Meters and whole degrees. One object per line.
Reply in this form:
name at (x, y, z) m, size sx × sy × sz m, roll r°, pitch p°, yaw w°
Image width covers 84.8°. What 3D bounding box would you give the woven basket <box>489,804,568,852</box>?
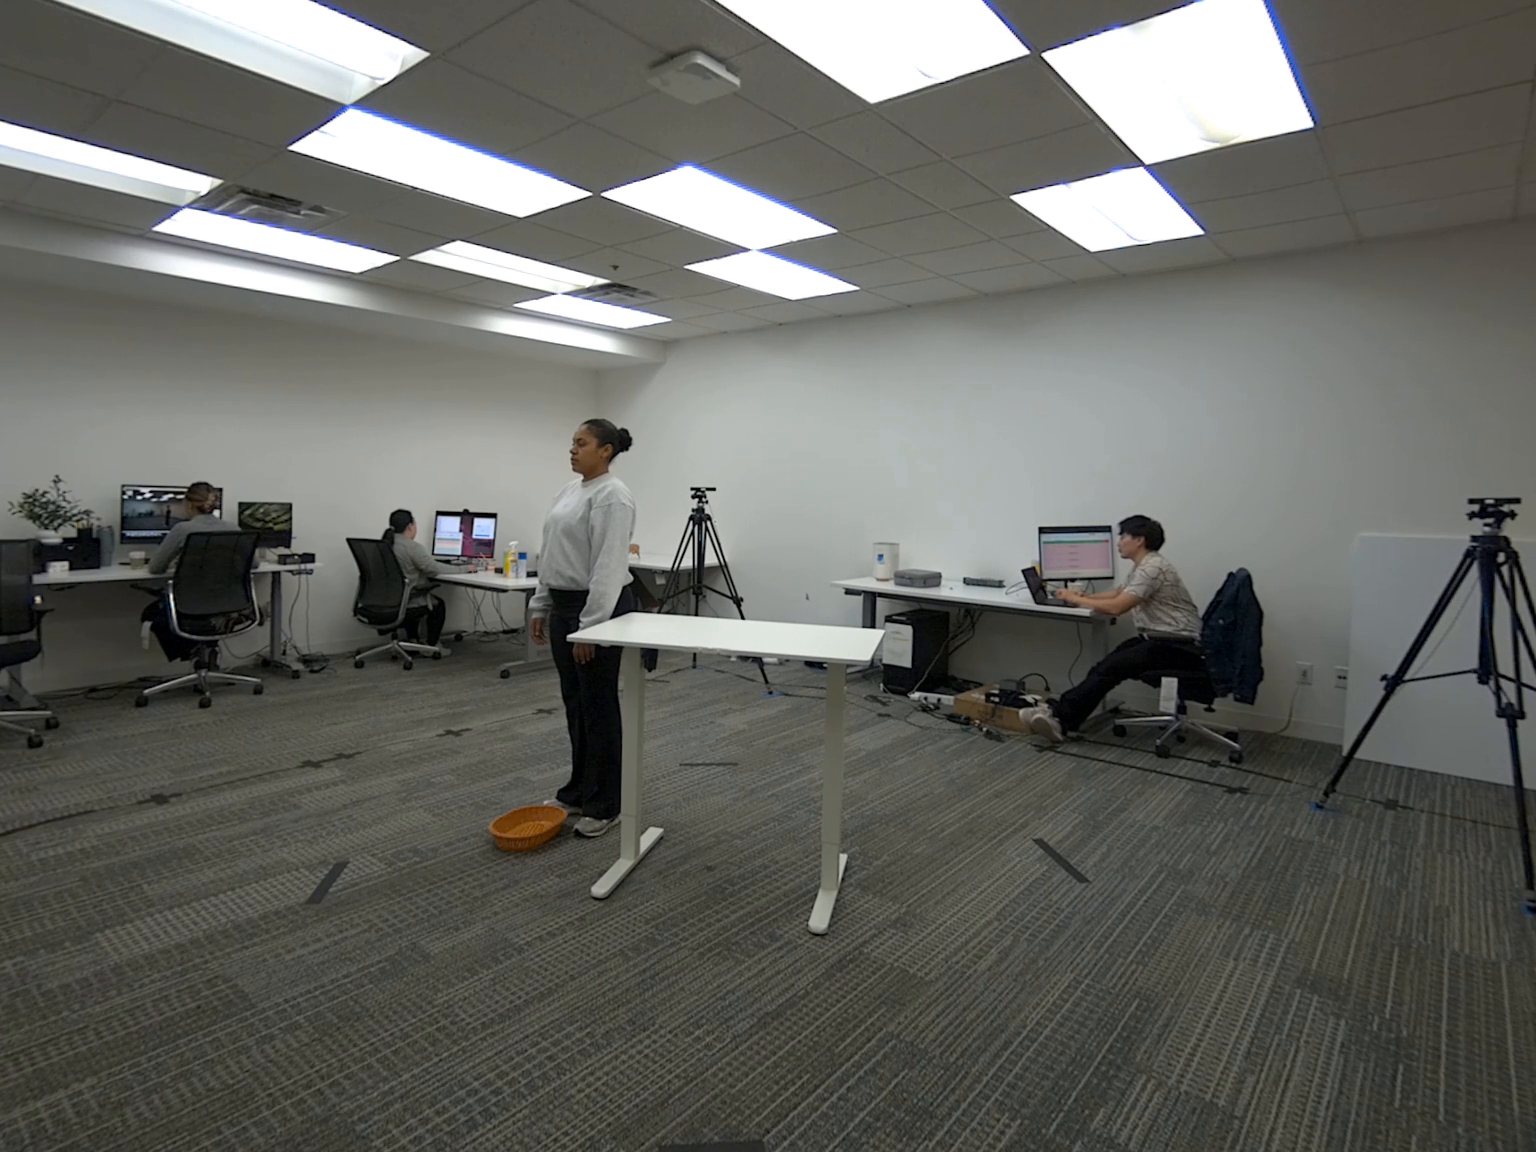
woven basket at (-0.956, 0.988, 3.358) m, size 0.258 × 0.073 × 0.343 m, roll 2°, pitch 6°, yaw 23°
